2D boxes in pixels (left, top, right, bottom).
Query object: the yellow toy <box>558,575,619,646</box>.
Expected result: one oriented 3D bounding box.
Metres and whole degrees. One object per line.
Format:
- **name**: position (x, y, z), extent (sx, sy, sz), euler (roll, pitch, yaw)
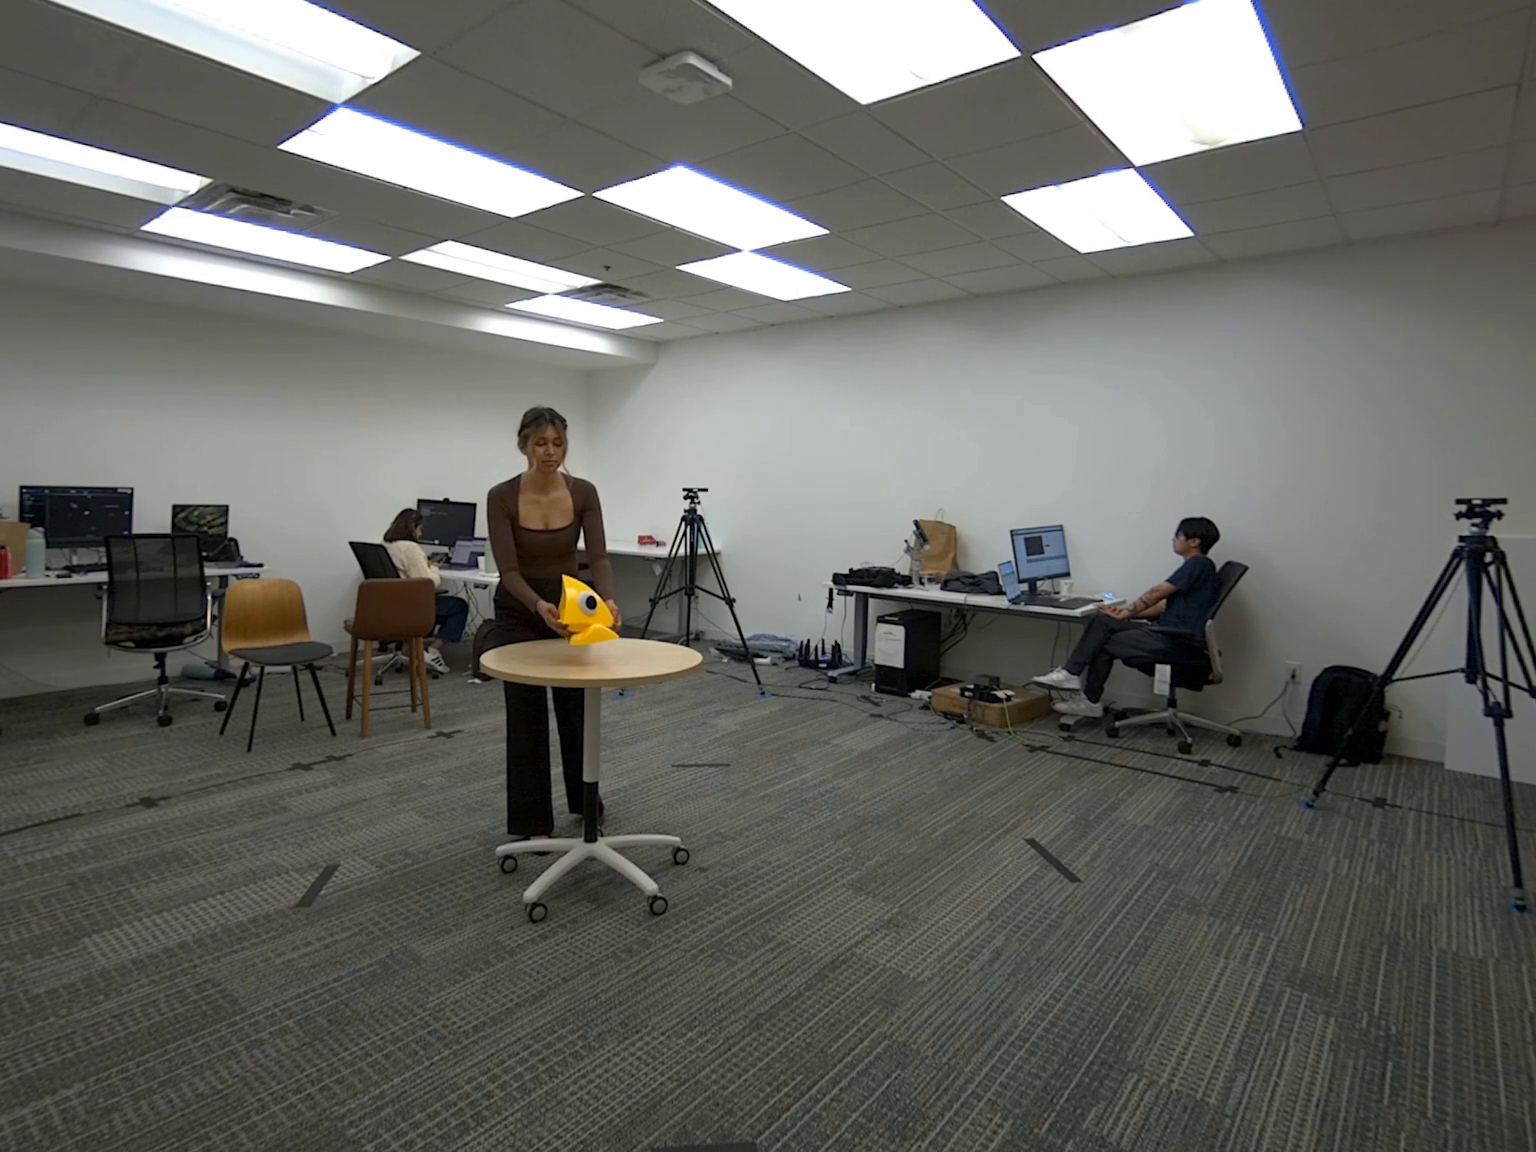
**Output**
- **yellow toy**: position (-0.632, 0.097, 2.868), extent (0.190, 0.231, 0.208), euler (-8, 1, -19)
